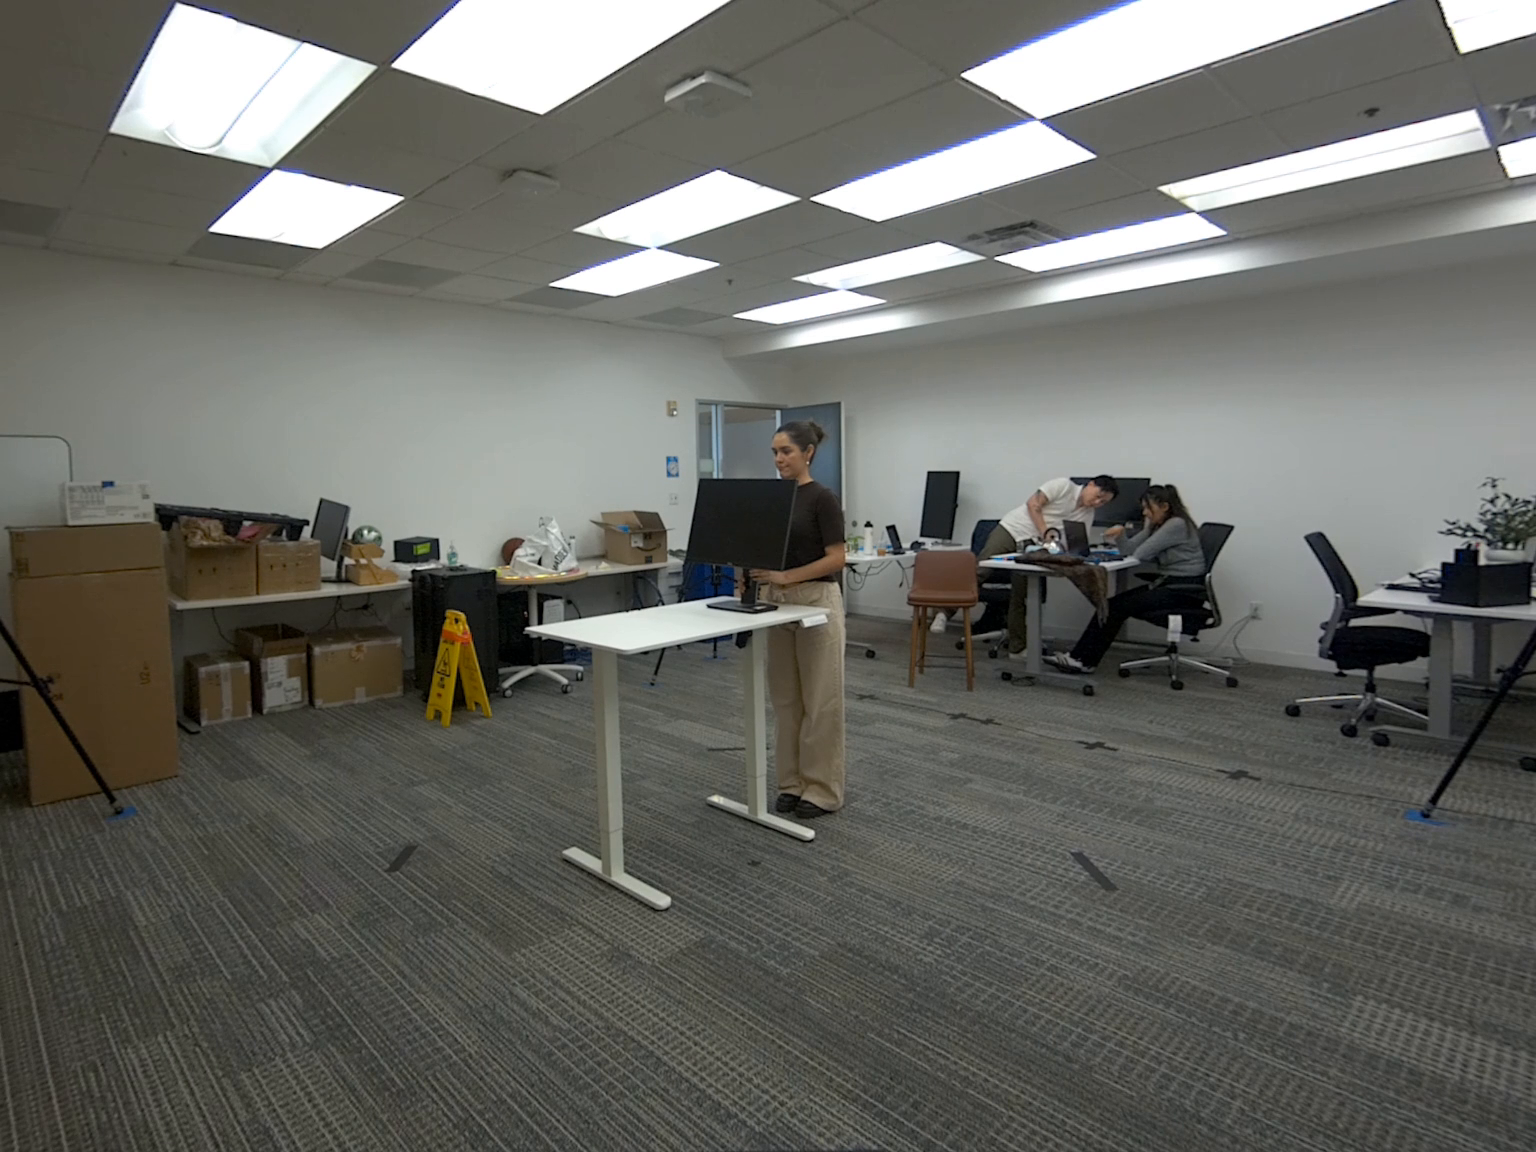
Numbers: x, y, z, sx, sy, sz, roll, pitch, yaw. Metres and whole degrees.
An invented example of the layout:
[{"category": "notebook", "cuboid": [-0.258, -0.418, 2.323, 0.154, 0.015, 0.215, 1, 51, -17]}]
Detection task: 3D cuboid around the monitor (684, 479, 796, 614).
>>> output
[{"category": "monitor", "cuboid": [-0.102, -0.128, 3.377, 0.547, 0.512, 0.170, 6, 11, 43]}]
